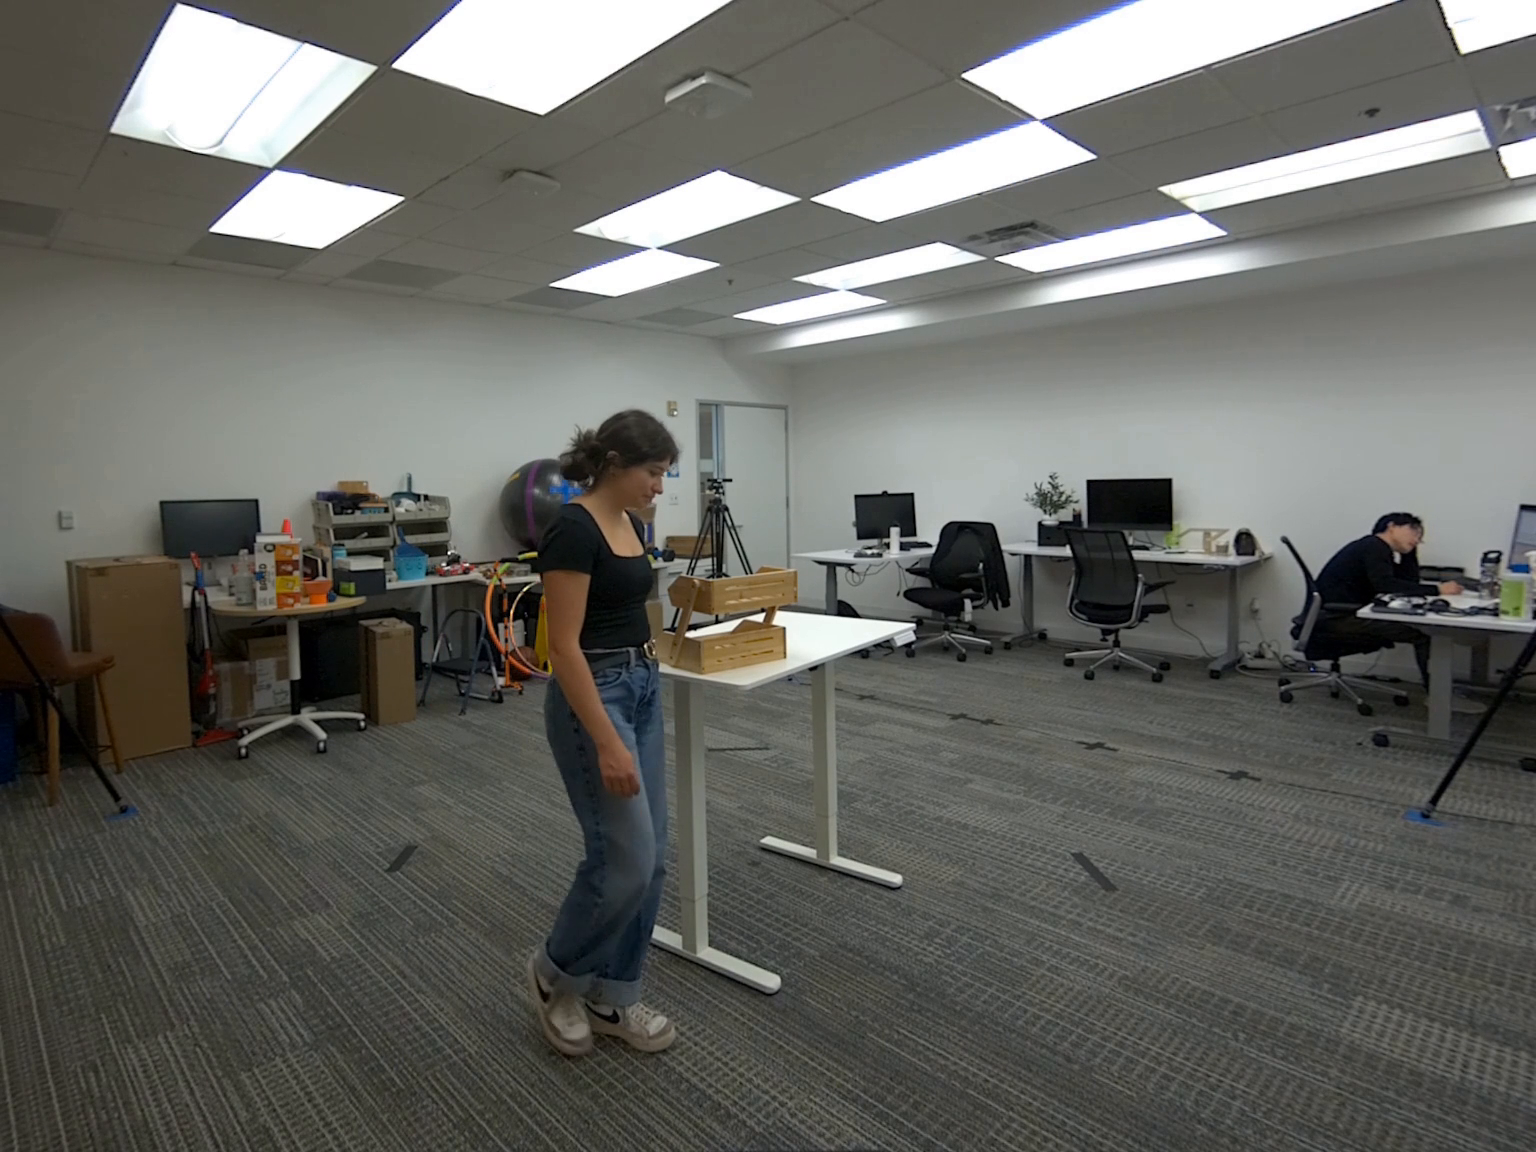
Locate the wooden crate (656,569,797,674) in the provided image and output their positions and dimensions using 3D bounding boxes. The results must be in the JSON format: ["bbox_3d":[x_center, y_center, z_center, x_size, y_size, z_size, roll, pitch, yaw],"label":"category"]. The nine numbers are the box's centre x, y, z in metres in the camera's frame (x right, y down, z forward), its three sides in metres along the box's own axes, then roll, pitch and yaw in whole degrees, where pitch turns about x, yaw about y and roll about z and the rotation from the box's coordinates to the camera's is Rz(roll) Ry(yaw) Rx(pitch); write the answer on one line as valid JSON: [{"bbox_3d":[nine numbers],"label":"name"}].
[{"bbox_3d":[-0.122,0.111,2.438,0.316,0.272,0.311,-6,8,-38],"label":"wooden crate"}]
